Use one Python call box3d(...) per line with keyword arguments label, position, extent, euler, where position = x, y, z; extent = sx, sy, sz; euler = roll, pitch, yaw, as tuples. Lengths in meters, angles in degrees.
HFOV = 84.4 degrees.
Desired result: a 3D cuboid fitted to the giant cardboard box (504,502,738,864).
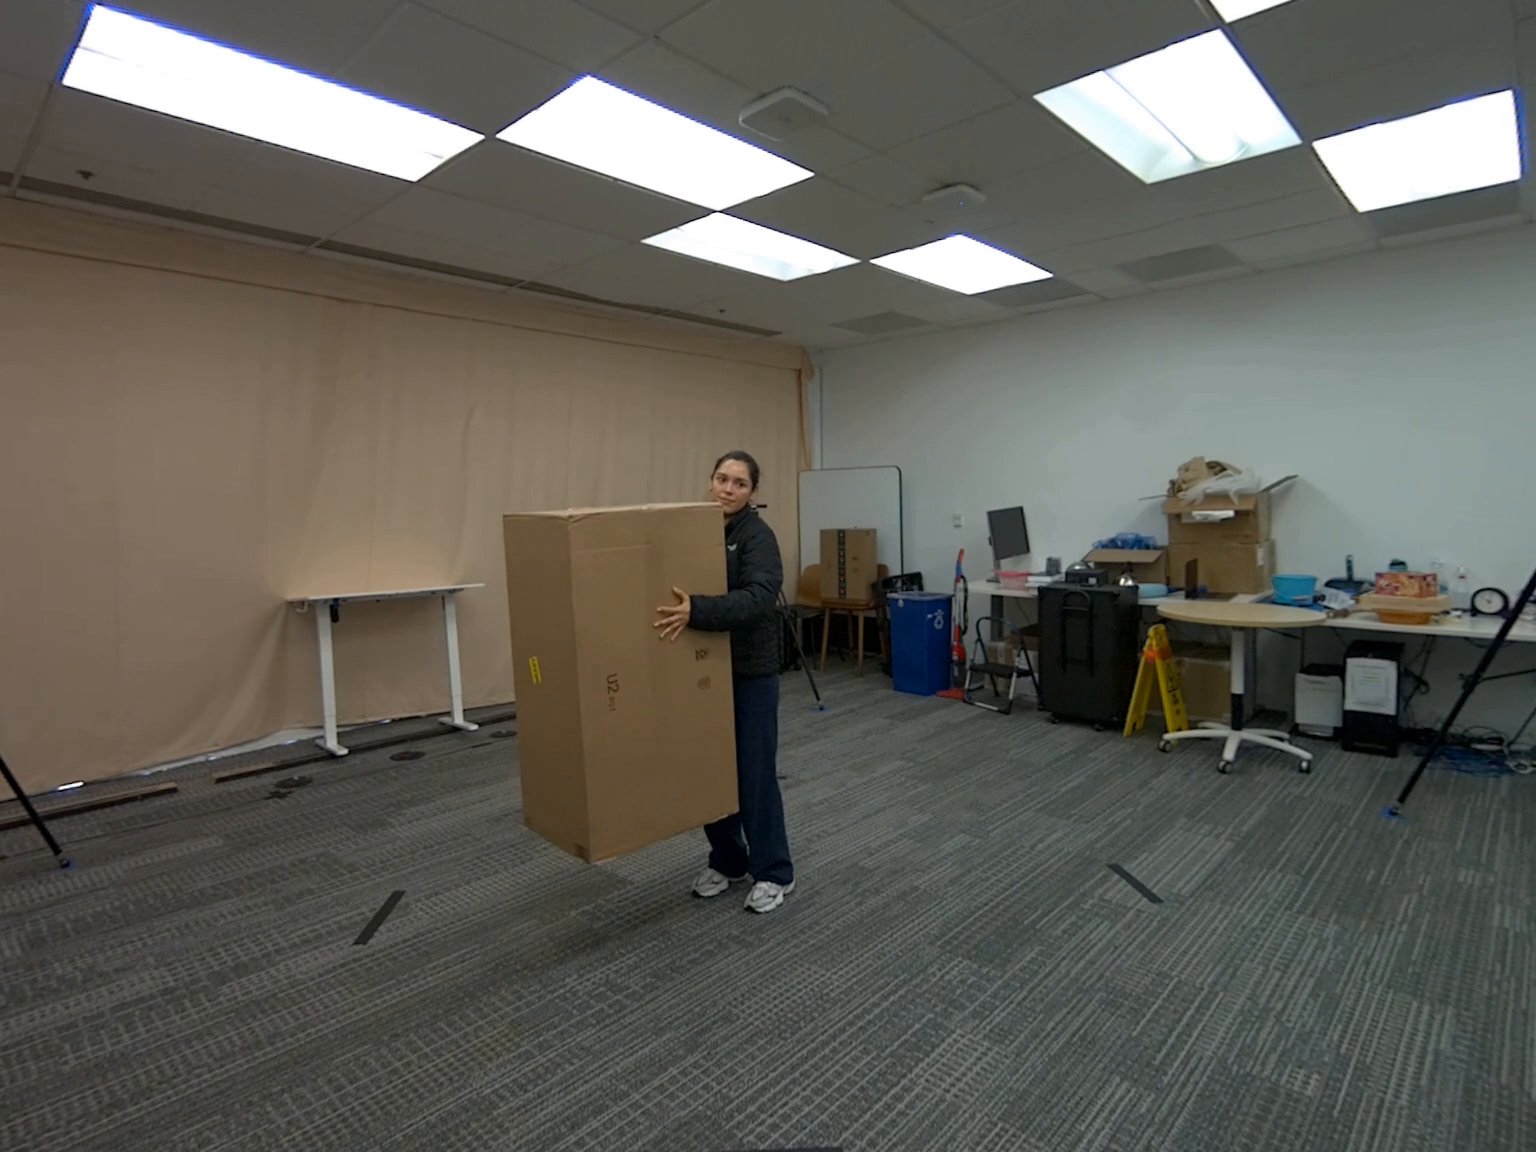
box3d(label="giant cardboard box", position=(-0.460, 0.290, 2.718), extent=(0.560, 1.023, 0.440), euler=(-6, 6, -41))
